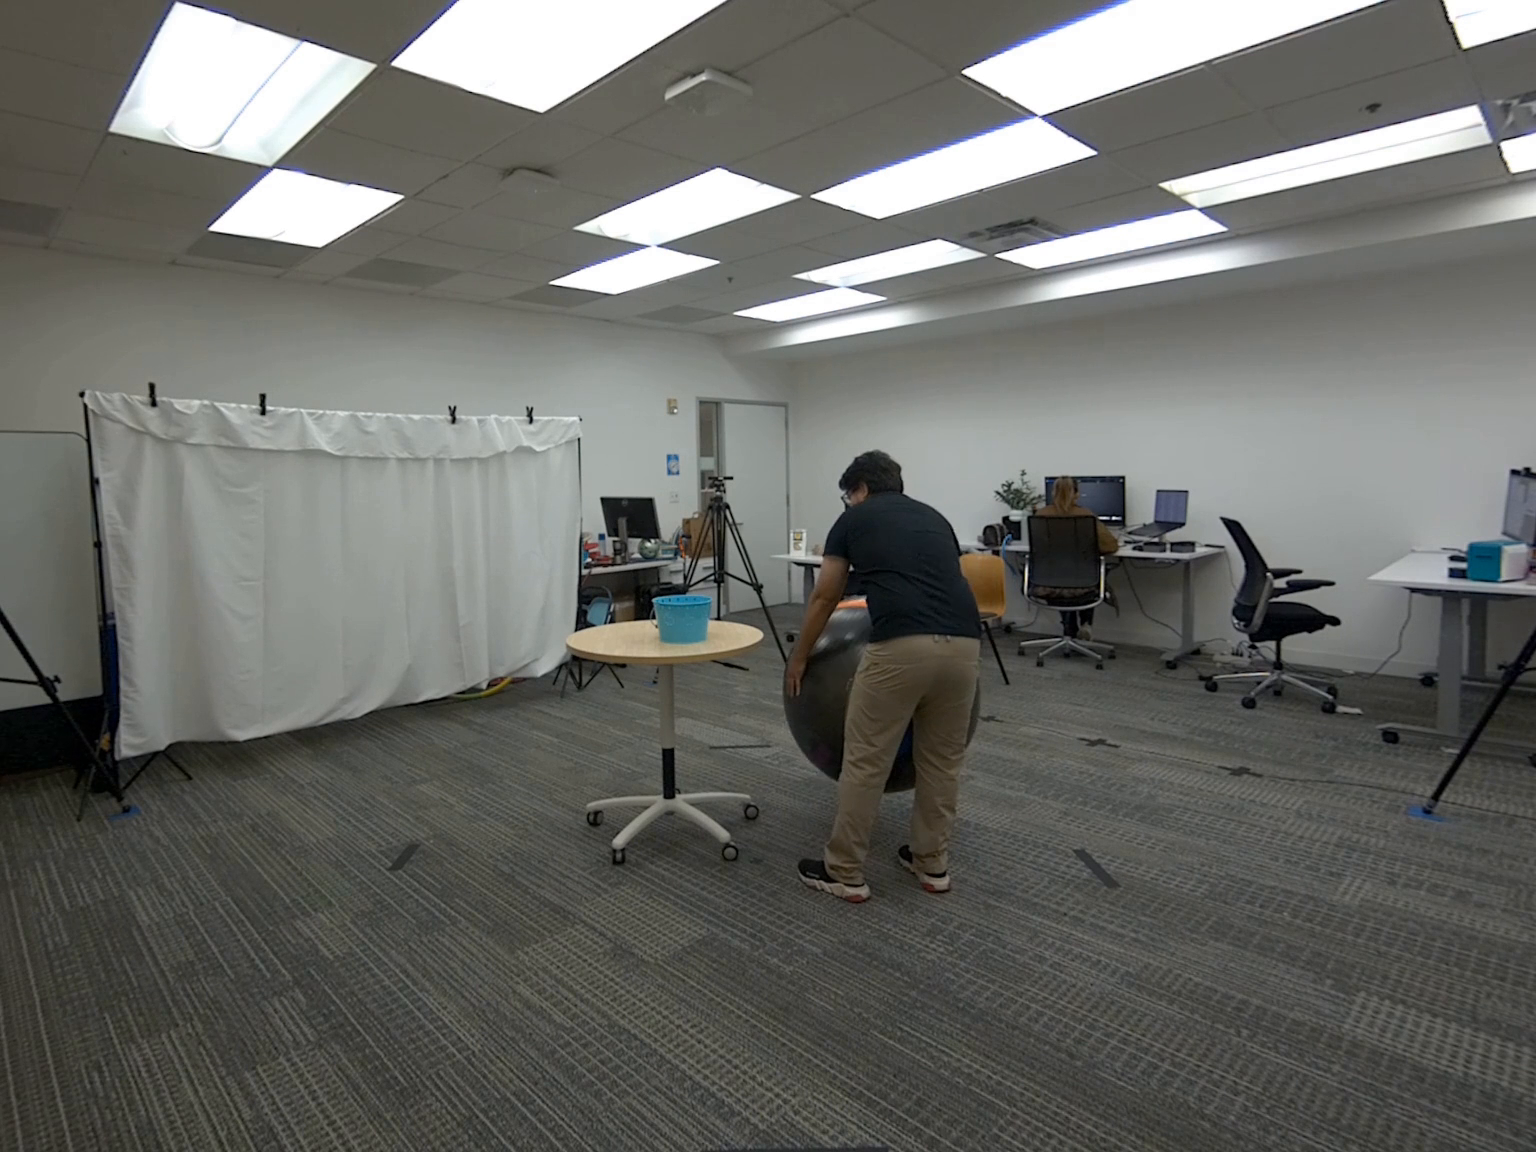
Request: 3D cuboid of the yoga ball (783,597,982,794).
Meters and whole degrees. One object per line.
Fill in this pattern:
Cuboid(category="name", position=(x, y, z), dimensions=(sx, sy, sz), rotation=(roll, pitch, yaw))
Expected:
Cuboid(category="yoga ball", position=(0.459, 0.461, 3.340), dimensions=(0.757, 0.755, 0.762), rotation=(-1, 5, -2))
